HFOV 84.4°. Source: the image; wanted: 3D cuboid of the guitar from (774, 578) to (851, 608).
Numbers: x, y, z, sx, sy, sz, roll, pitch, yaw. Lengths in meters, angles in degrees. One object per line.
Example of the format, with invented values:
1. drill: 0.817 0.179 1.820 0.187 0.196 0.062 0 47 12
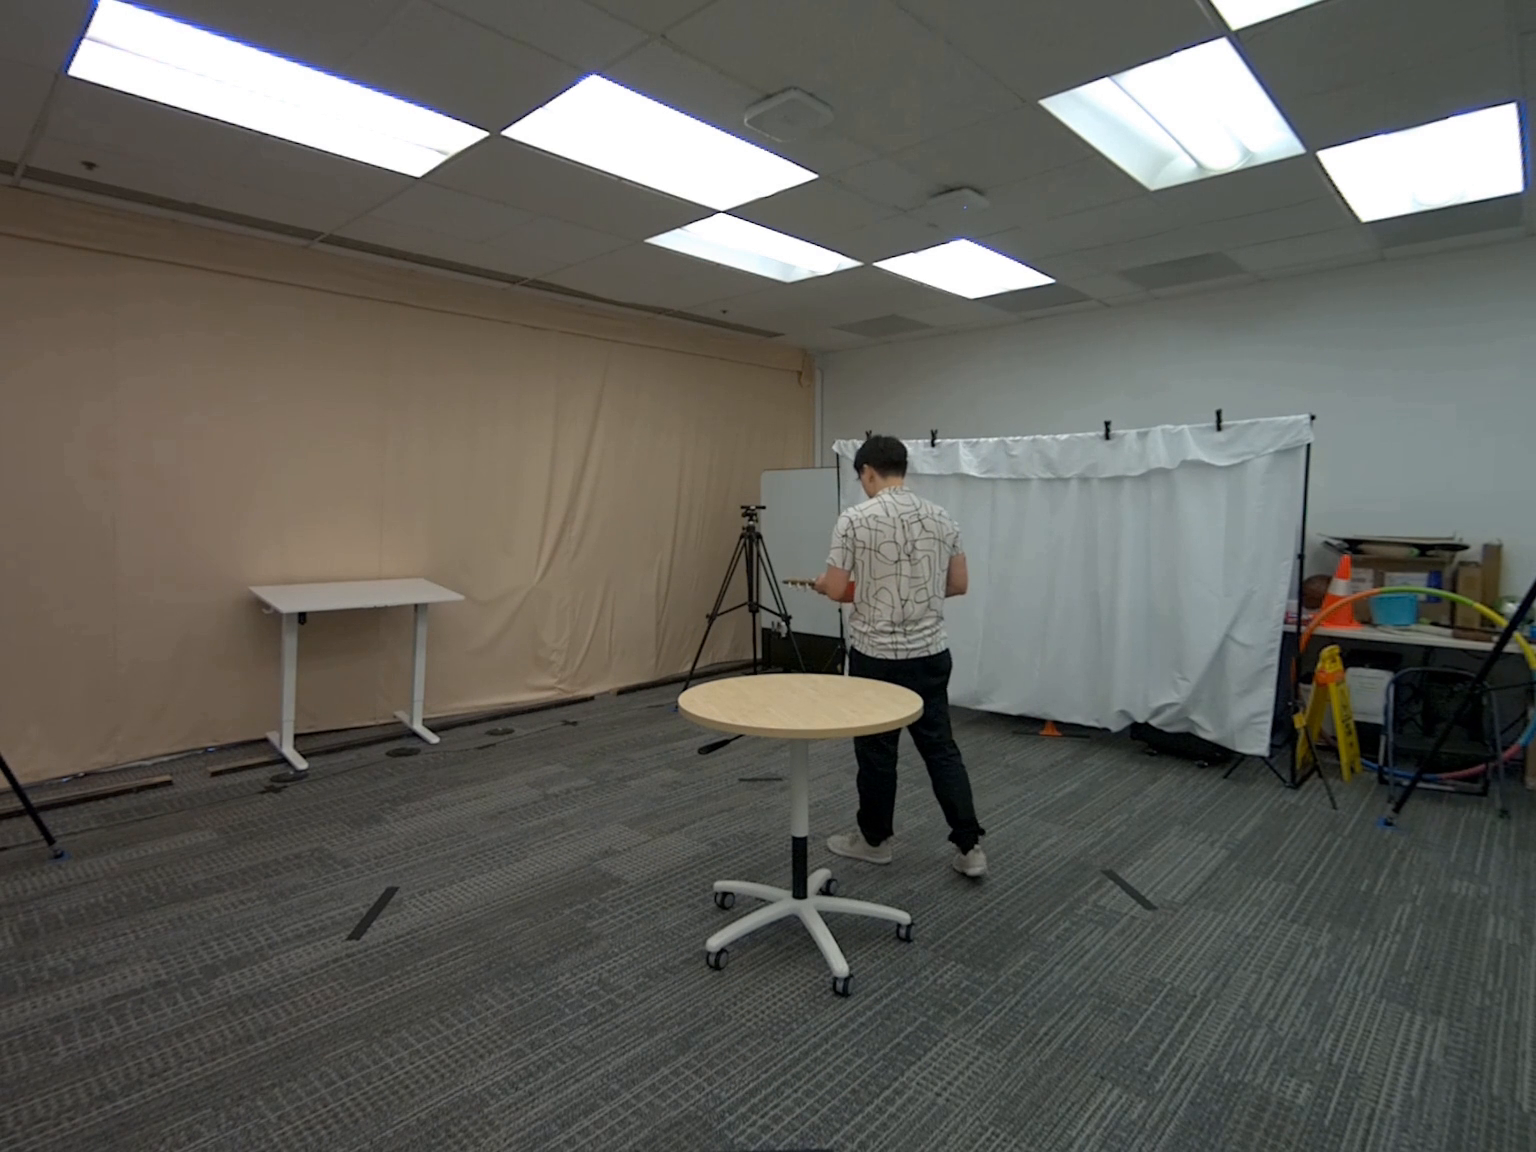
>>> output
1. guitar: 0.290 0.073 3.542 0.494 0.071 0.193 2 -14 -8
